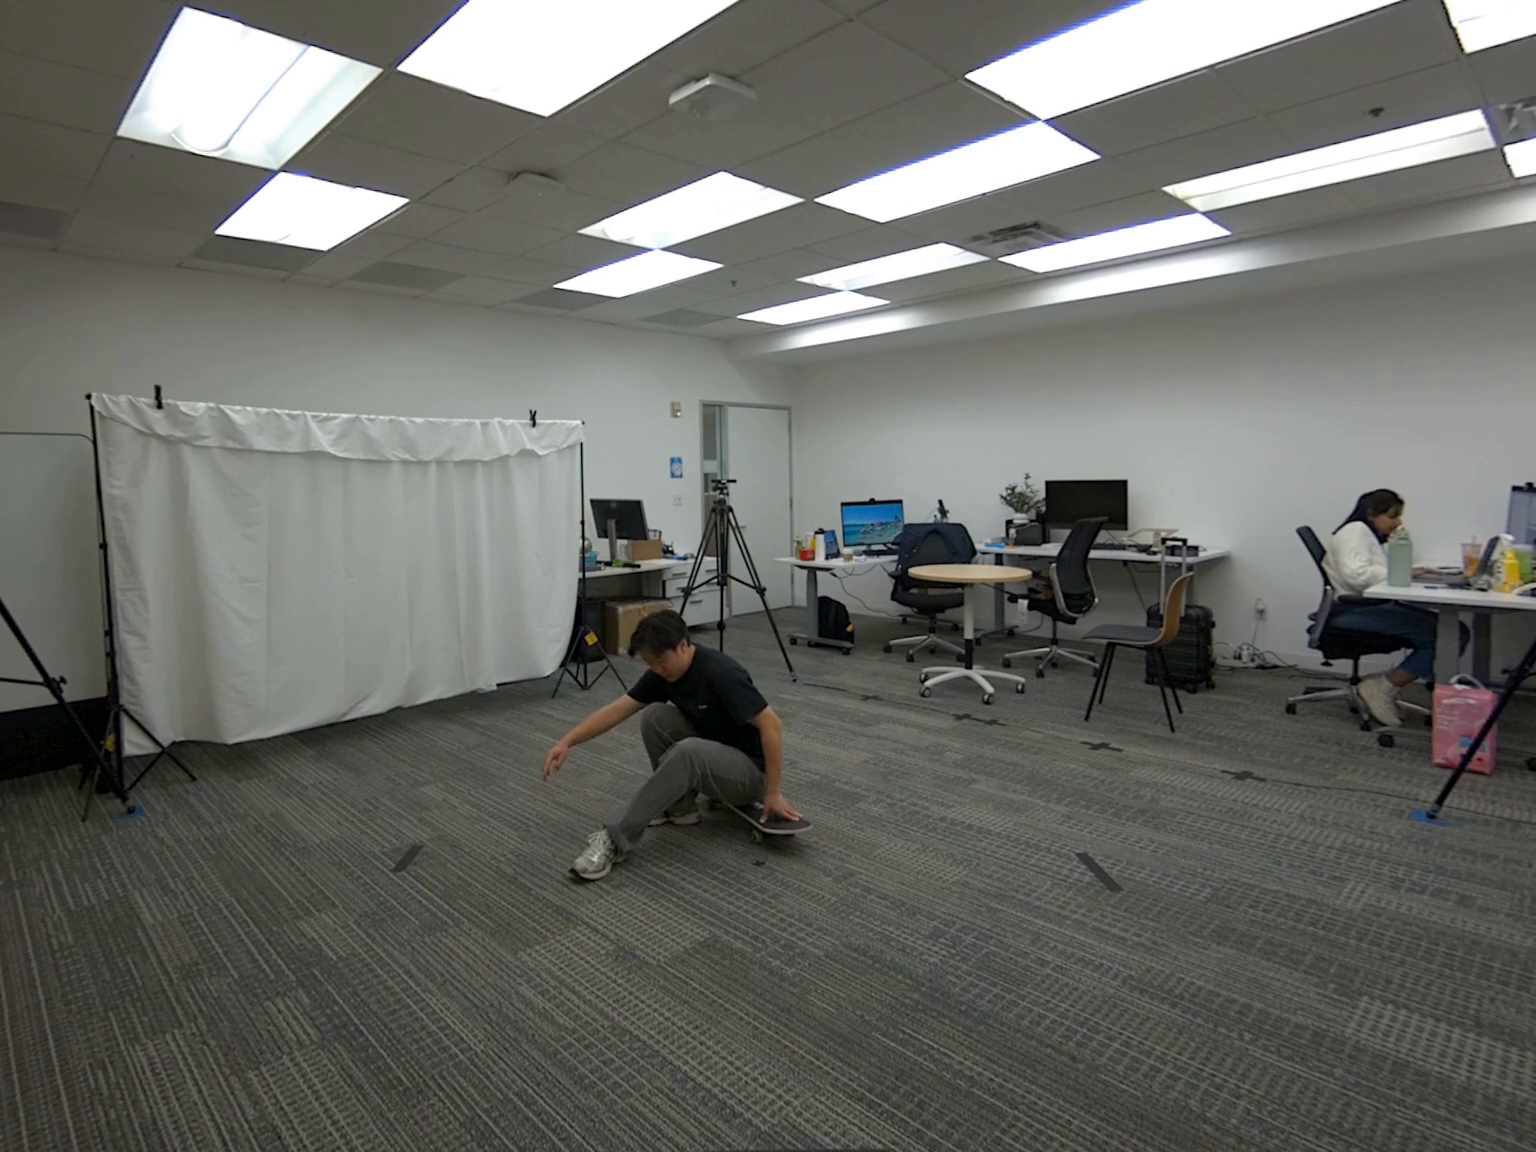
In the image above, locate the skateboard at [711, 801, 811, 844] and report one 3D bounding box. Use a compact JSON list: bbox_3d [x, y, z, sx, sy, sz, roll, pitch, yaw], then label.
[{"bbox_3d":[-0.071,0.945,3.493,0.189,0.110,0.807,-3,7,-29],"label":"skateboard"}]
